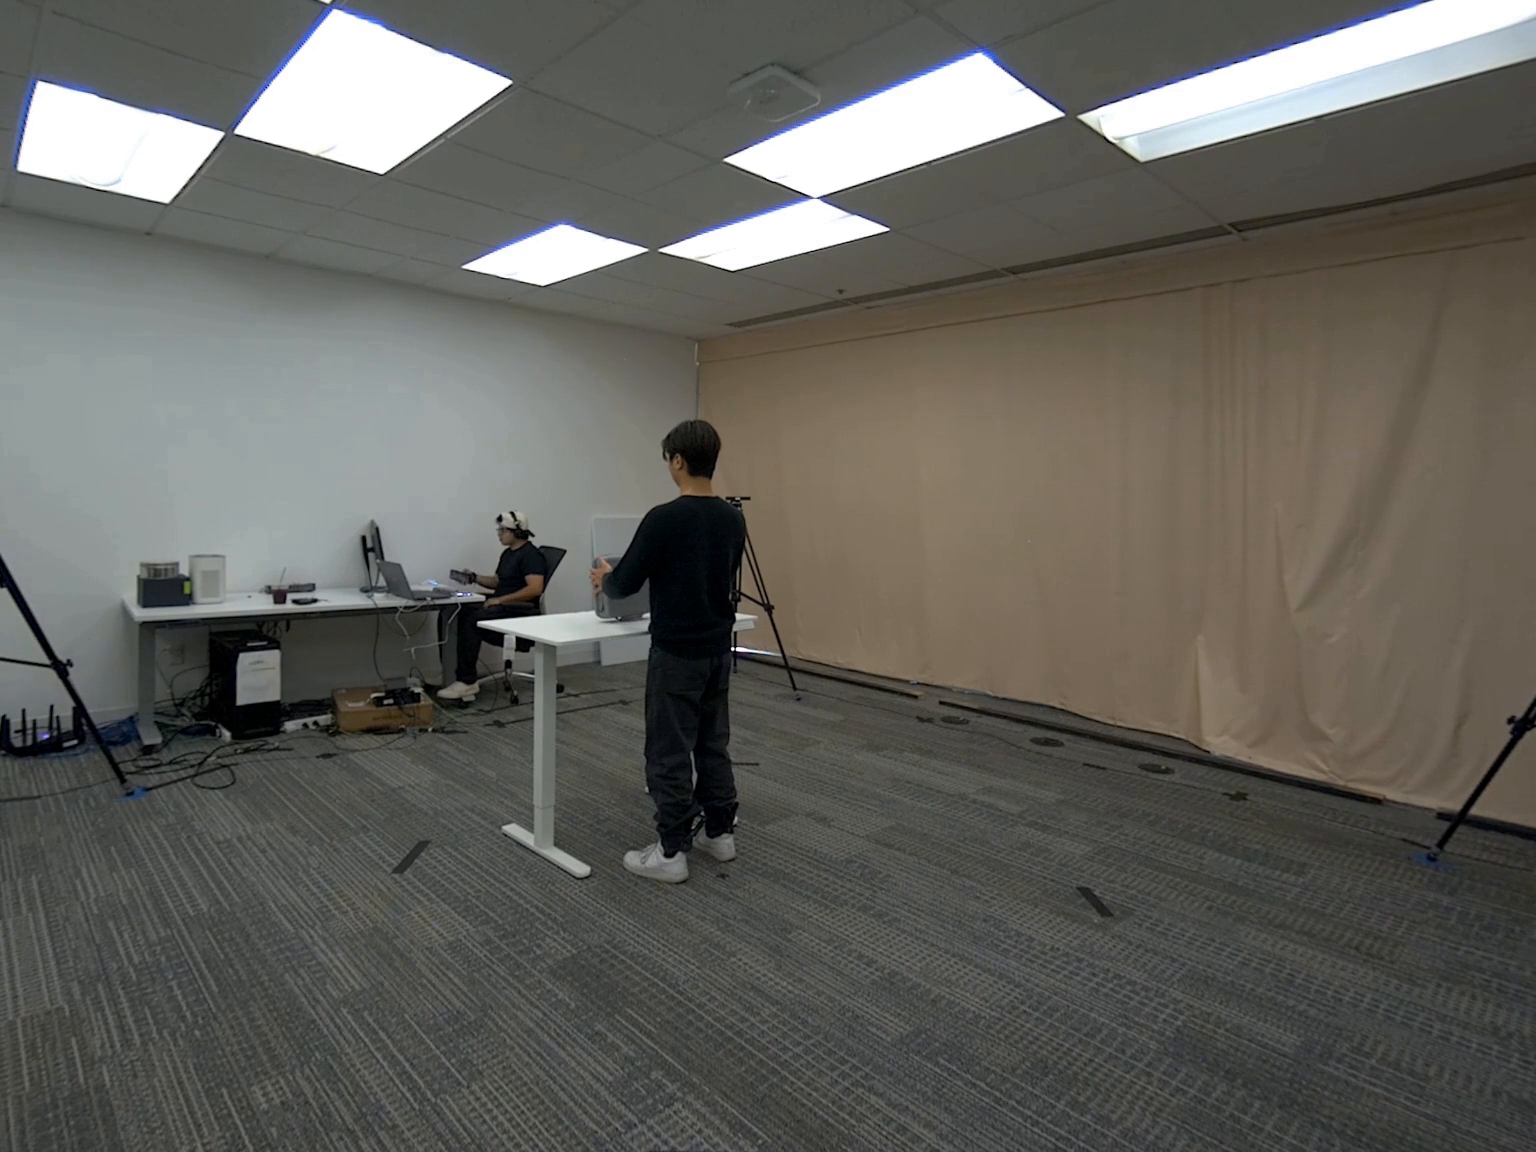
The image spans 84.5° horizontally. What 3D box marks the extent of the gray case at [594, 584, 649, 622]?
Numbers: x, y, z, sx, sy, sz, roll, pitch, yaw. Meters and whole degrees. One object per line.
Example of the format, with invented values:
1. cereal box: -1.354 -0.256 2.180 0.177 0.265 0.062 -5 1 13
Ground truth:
1. gray case: -0.598 0.045 3.452 0.107 0.260 0.251 -2 1 42
